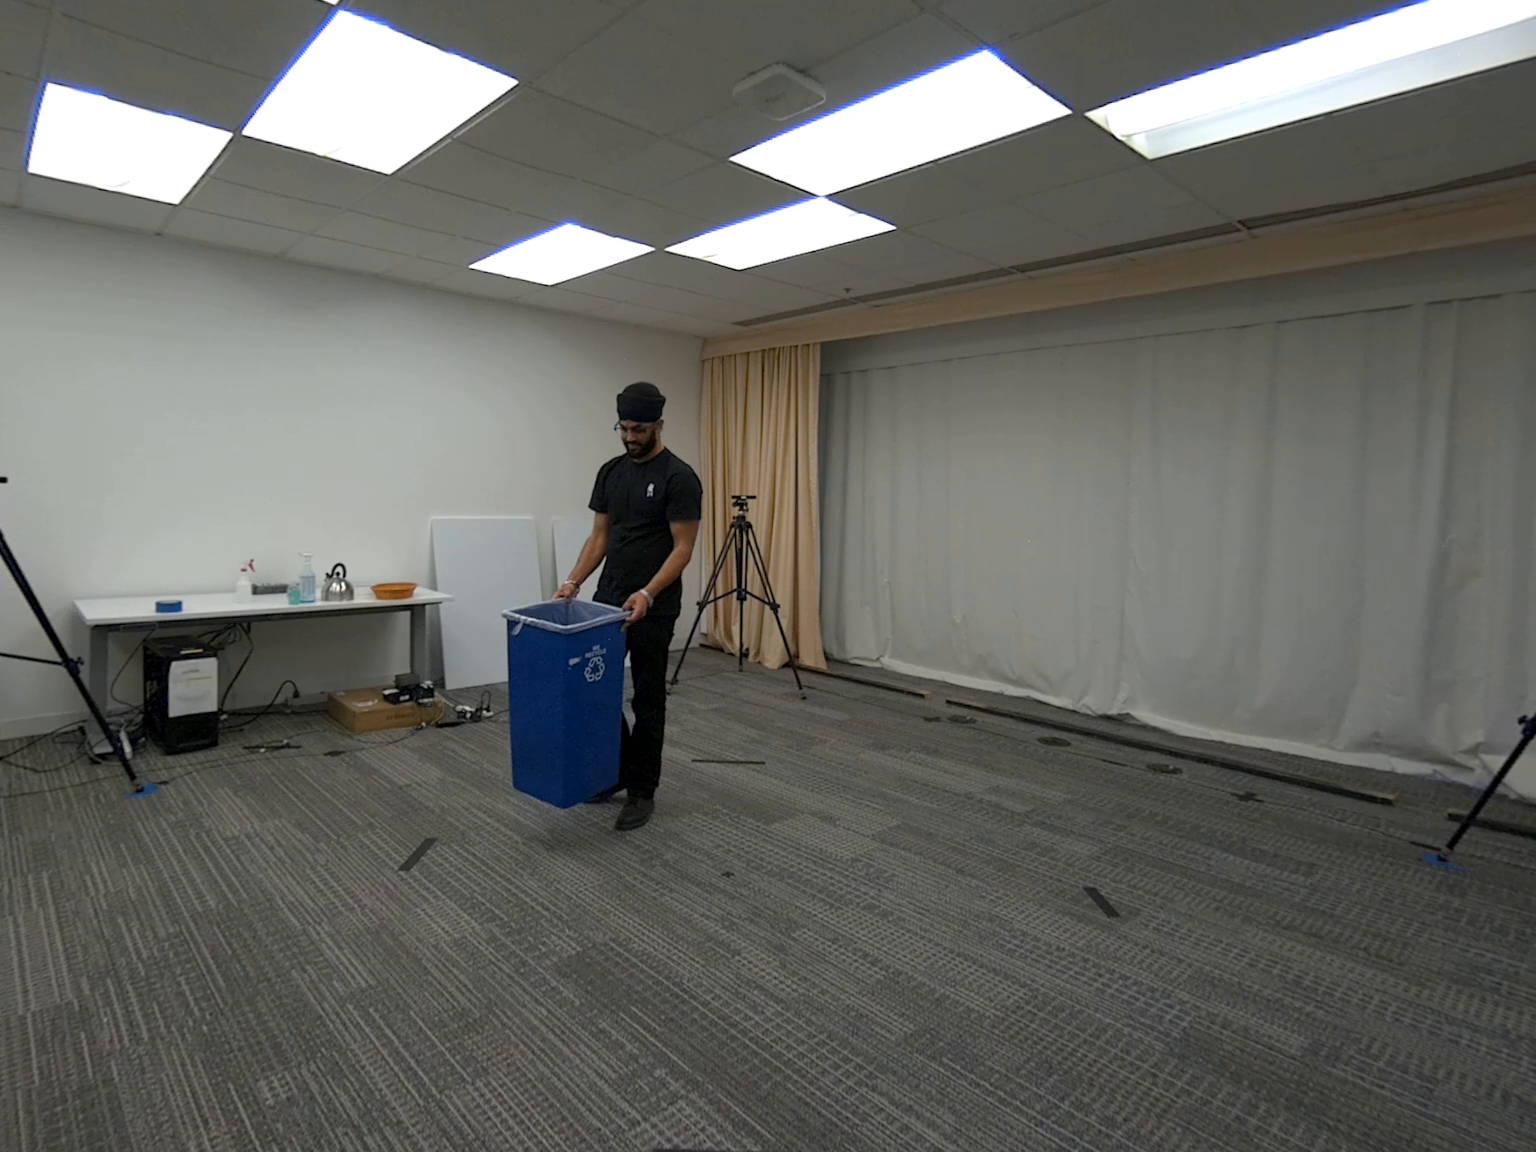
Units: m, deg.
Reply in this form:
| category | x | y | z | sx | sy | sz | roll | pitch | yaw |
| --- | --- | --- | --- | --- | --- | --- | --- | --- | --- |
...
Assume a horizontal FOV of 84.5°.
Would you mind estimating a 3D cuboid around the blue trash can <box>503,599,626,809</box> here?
| category | x | y | z | sx | sy | sz | roll | pitch | yaw |
| --- | --- | --- | --- | --- | --- | --- | --- | --- | --- |
| blue trash can | -0.800 | 0.488 | 3.296 | 0.387 | 0.708 | 0.367 | 8 | 12 | 33 |
